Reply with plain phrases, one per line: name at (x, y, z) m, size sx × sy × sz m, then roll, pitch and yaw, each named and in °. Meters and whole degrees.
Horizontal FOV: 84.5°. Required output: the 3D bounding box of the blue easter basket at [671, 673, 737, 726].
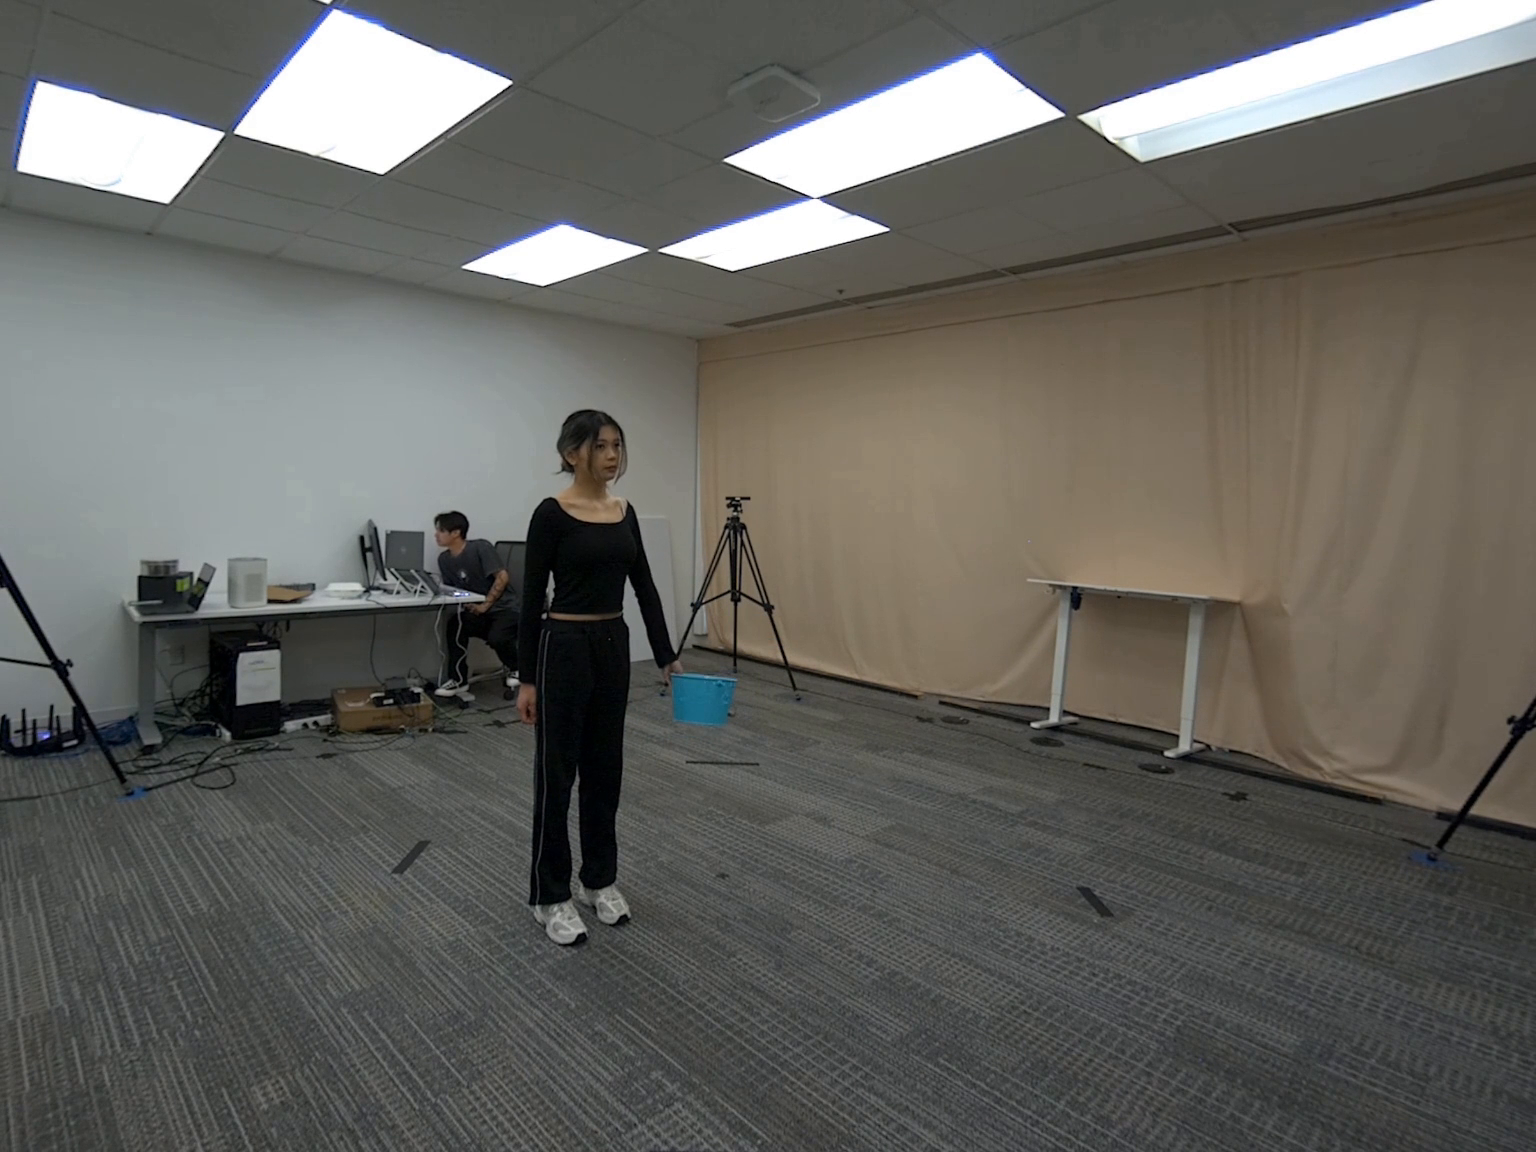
blue easter basket at (-0.232, 0.417, 2.859) m, size 0.243 × 0.156 × 0.242 m, roll 5°, pitch -5°, yaw -1°
